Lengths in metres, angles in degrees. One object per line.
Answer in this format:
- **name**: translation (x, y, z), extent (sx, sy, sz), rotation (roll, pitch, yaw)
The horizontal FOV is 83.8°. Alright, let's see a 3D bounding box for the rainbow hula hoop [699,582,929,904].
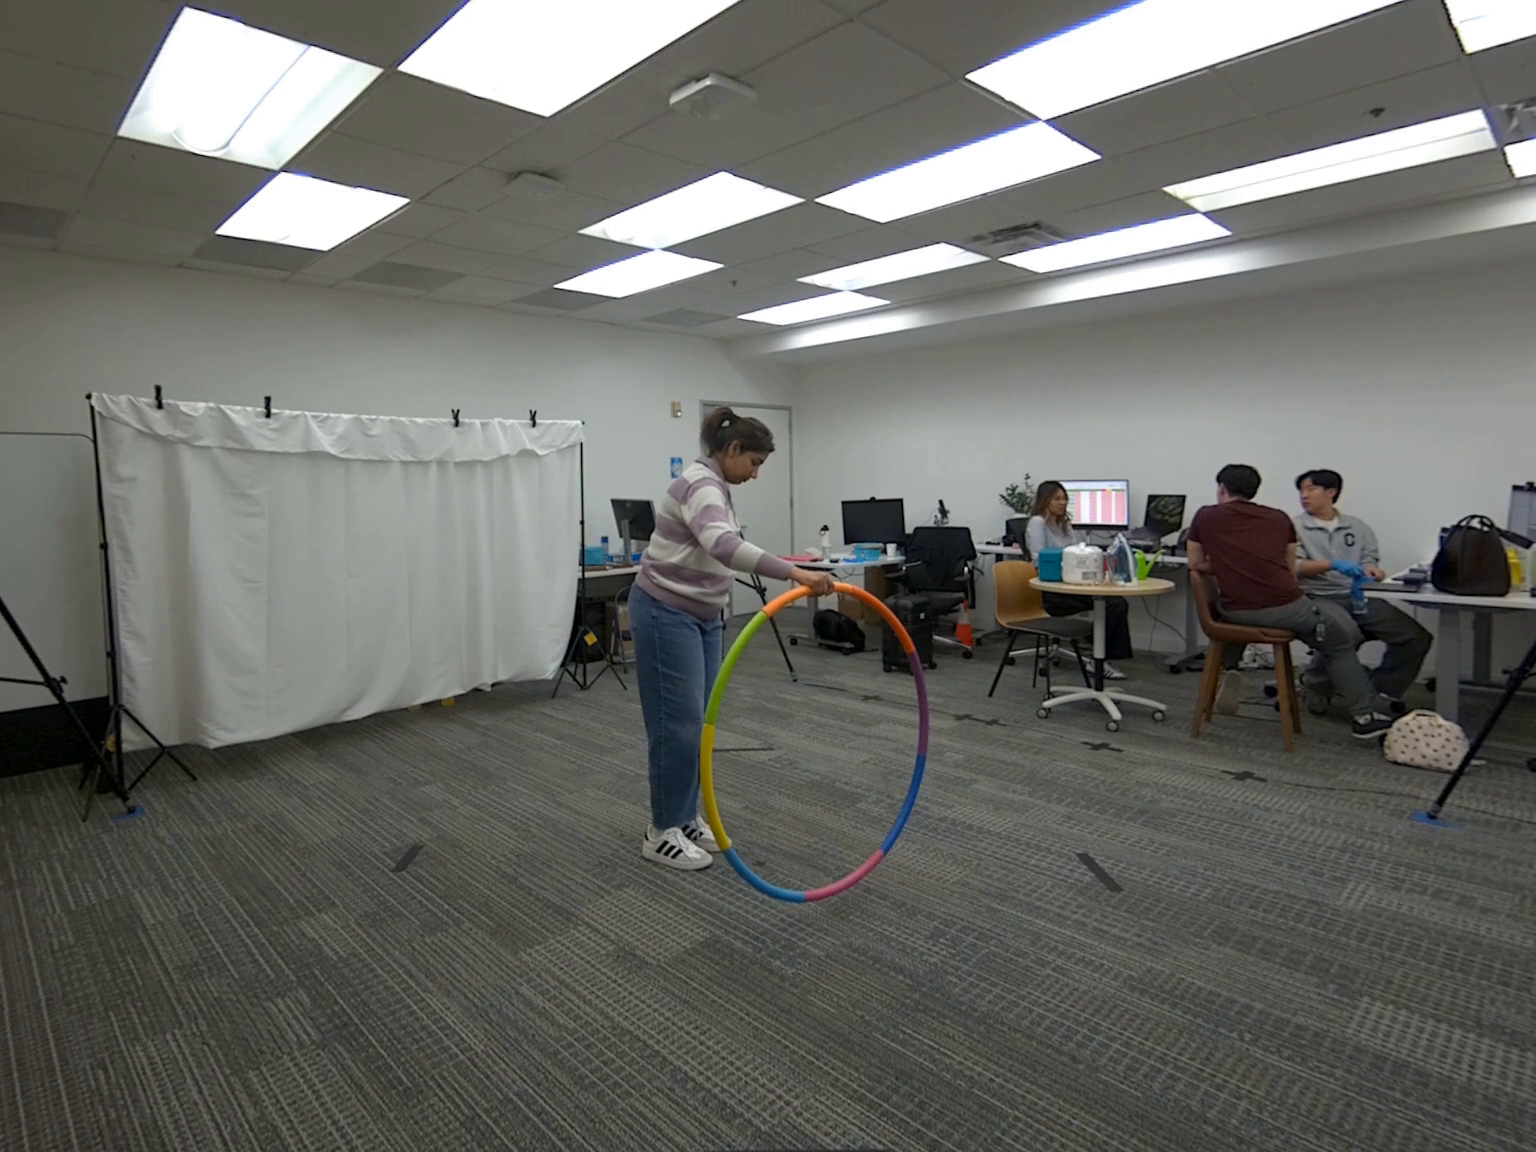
- **rainbow hula hoop**: translation (0.177, 0.522, 2.717), extent (0.953, 0.979, 0.036), rotation (-4, 0, -37)
